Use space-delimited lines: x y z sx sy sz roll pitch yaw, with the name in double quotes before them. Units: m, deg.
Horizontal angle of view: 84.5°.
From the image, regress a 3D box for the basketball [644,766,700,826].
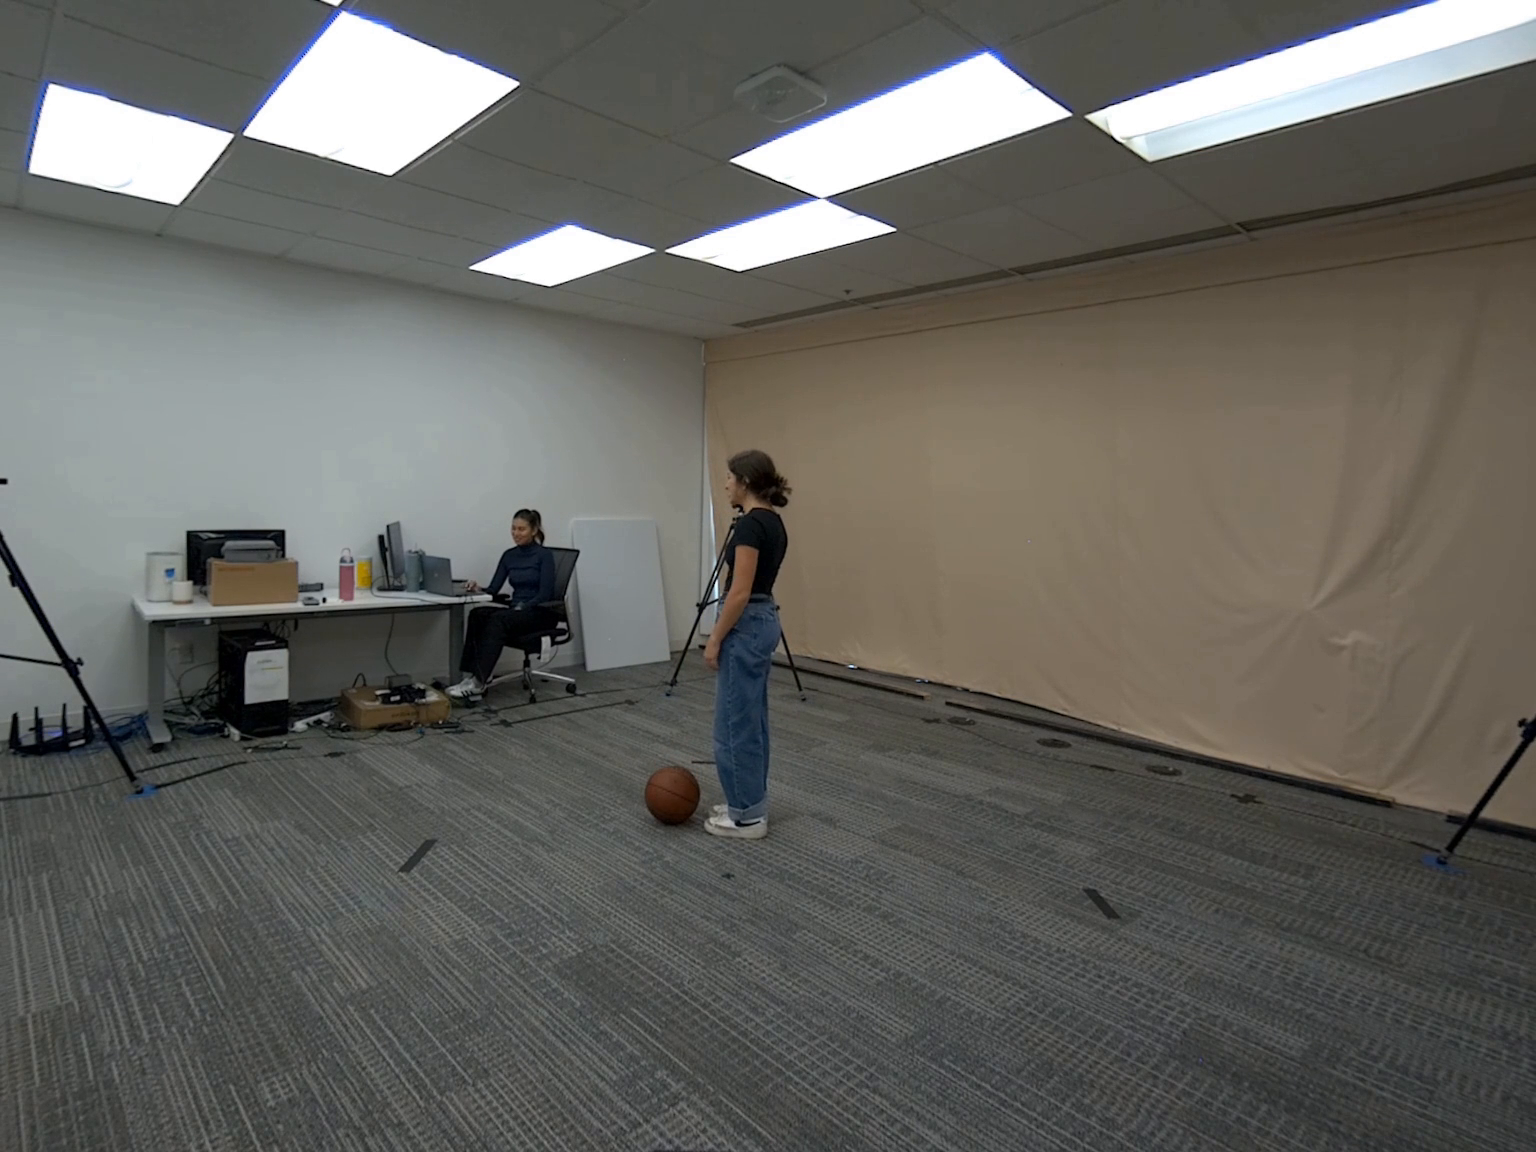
"basketball" -0.411 0.929 3.609 0.236 0.235 0.237 1 4 -1
